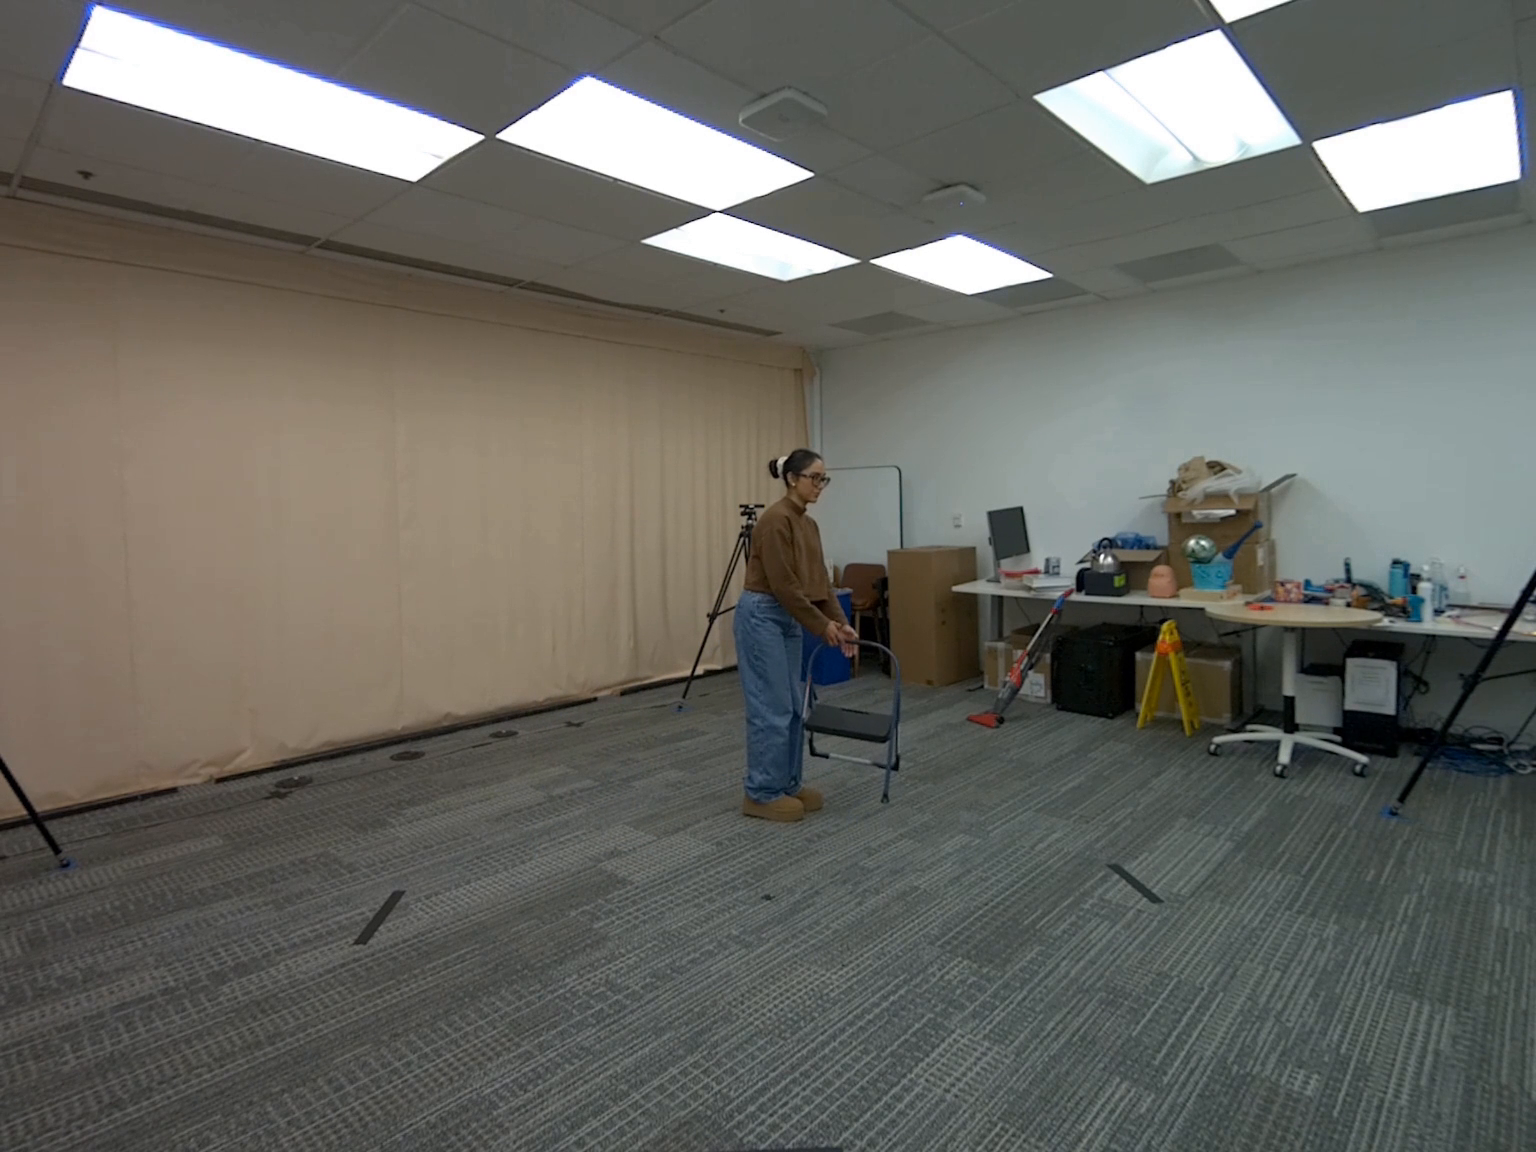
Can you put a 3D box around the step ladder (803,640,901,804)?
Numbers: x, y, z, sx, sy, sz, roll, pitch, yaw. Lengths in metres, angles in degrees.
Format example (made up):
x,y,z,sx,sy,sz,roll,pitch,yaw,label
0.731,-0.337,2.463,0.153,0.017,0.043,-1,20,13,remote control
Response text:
x,y,z,sx,sy,sz,roll,pitch,yaw,label
0.364,0.603,3.660,0.439,0.601,0.345,5,13,18,step ladder
